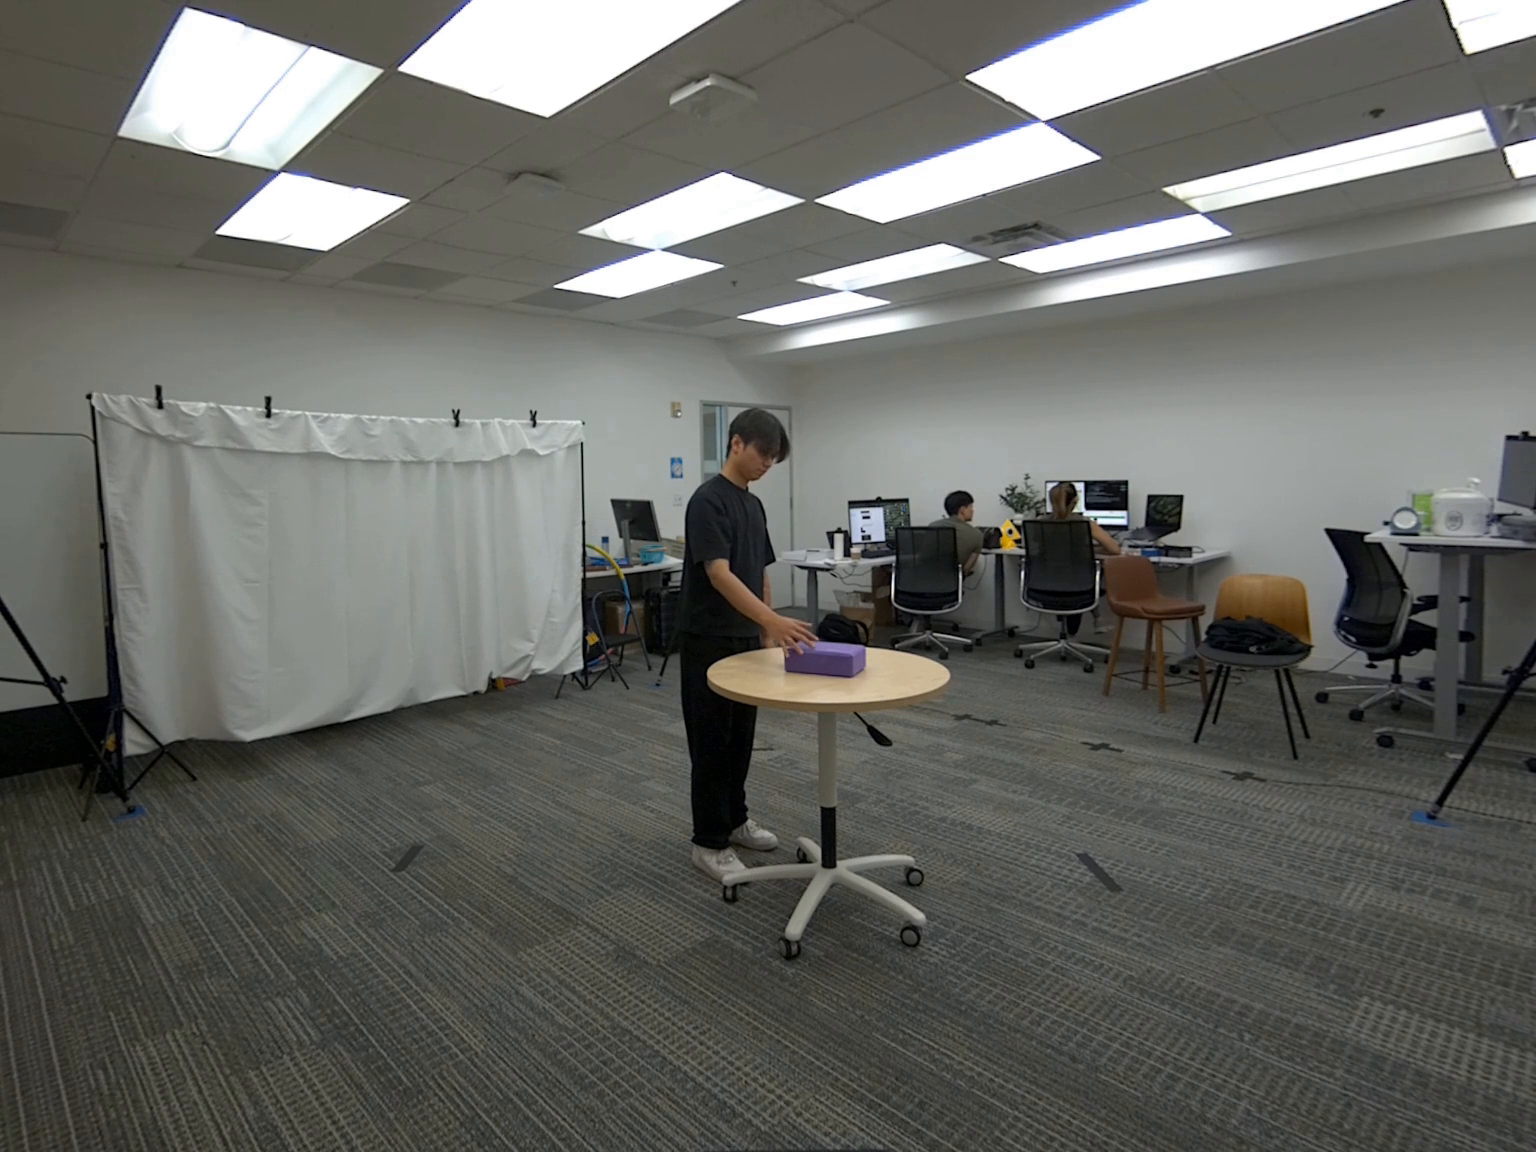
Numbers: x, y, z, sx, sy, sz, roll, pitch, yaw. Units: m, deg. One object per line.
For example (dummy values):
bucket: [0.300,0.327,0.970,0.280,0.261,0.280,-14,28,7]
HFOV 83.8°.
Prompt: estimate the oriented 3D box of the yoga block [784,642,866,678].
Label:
yoga block: [0.190,0.266,2.725,0.234,0.076,0.146,2,7,23]
